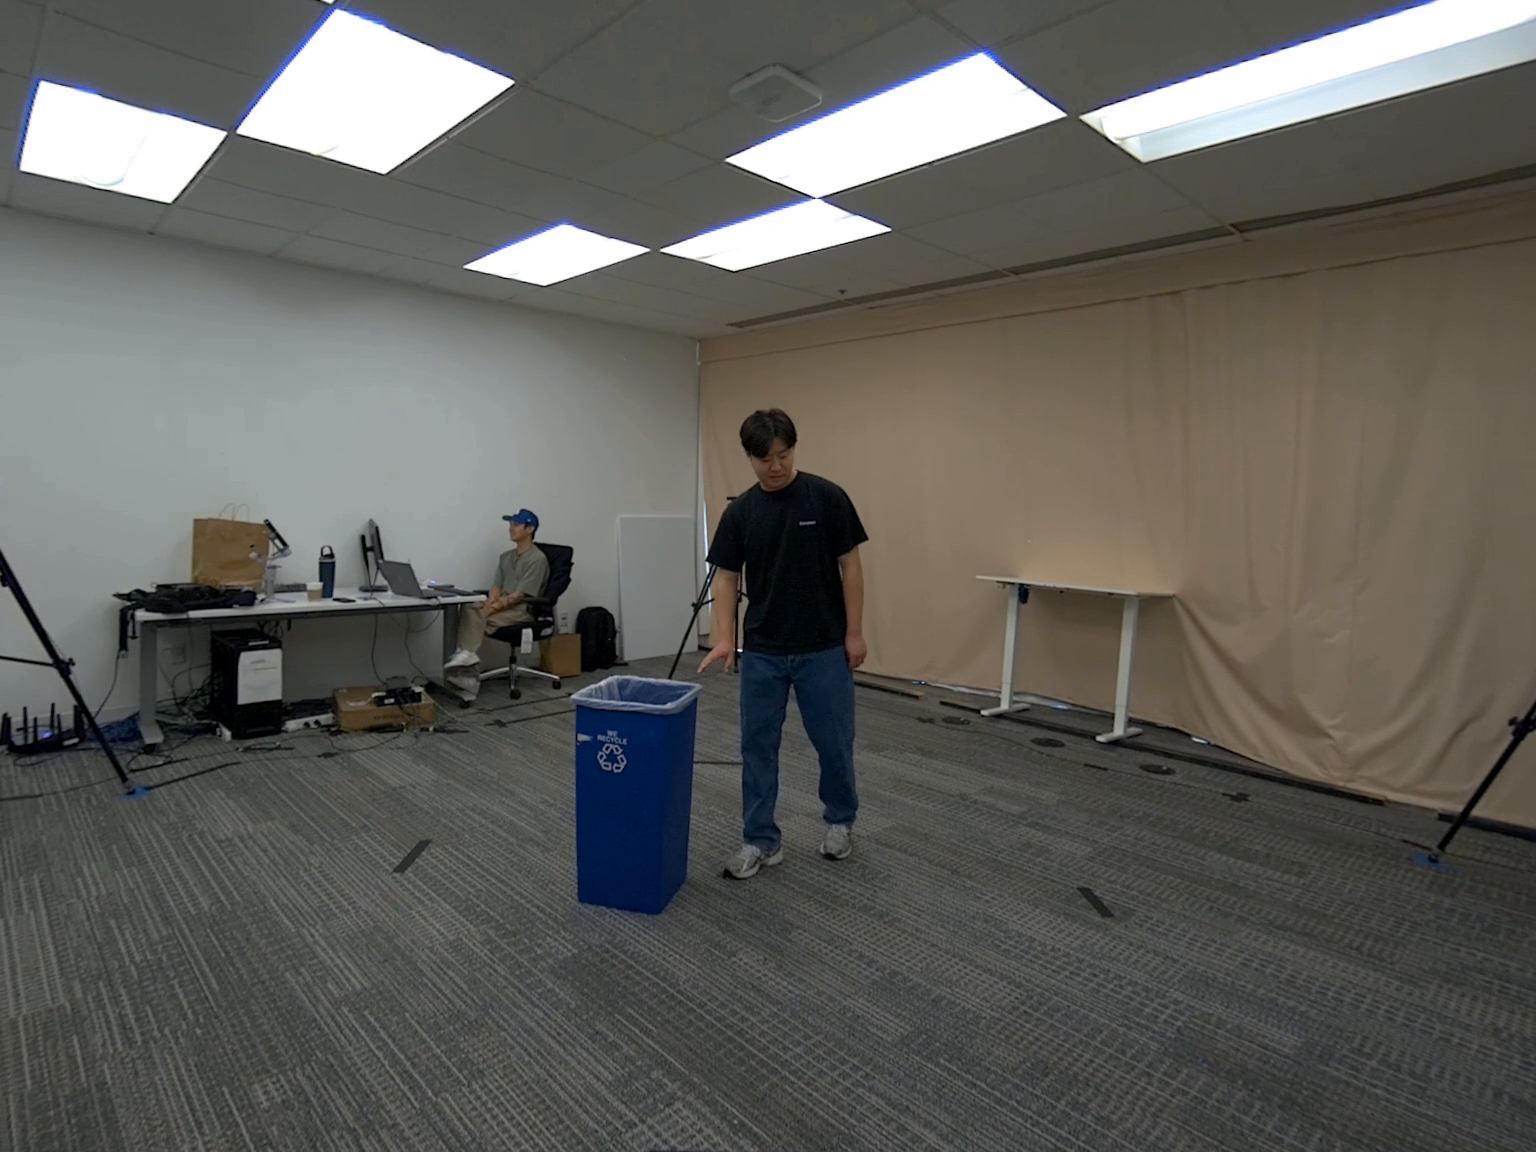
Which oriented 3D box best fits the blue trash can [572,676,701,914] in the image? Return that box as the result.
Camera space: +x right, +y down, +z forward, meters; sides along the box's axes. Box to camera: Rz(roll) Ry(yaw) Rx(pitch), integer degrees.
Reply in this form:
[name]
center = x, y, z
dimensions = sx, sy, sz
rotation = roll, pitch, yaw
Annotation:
[blue trash can]
center = -0.473, 0.755, 2.954
dimensions = 0.379, 0.712, 0.374
rotation = 4, 4, 14
